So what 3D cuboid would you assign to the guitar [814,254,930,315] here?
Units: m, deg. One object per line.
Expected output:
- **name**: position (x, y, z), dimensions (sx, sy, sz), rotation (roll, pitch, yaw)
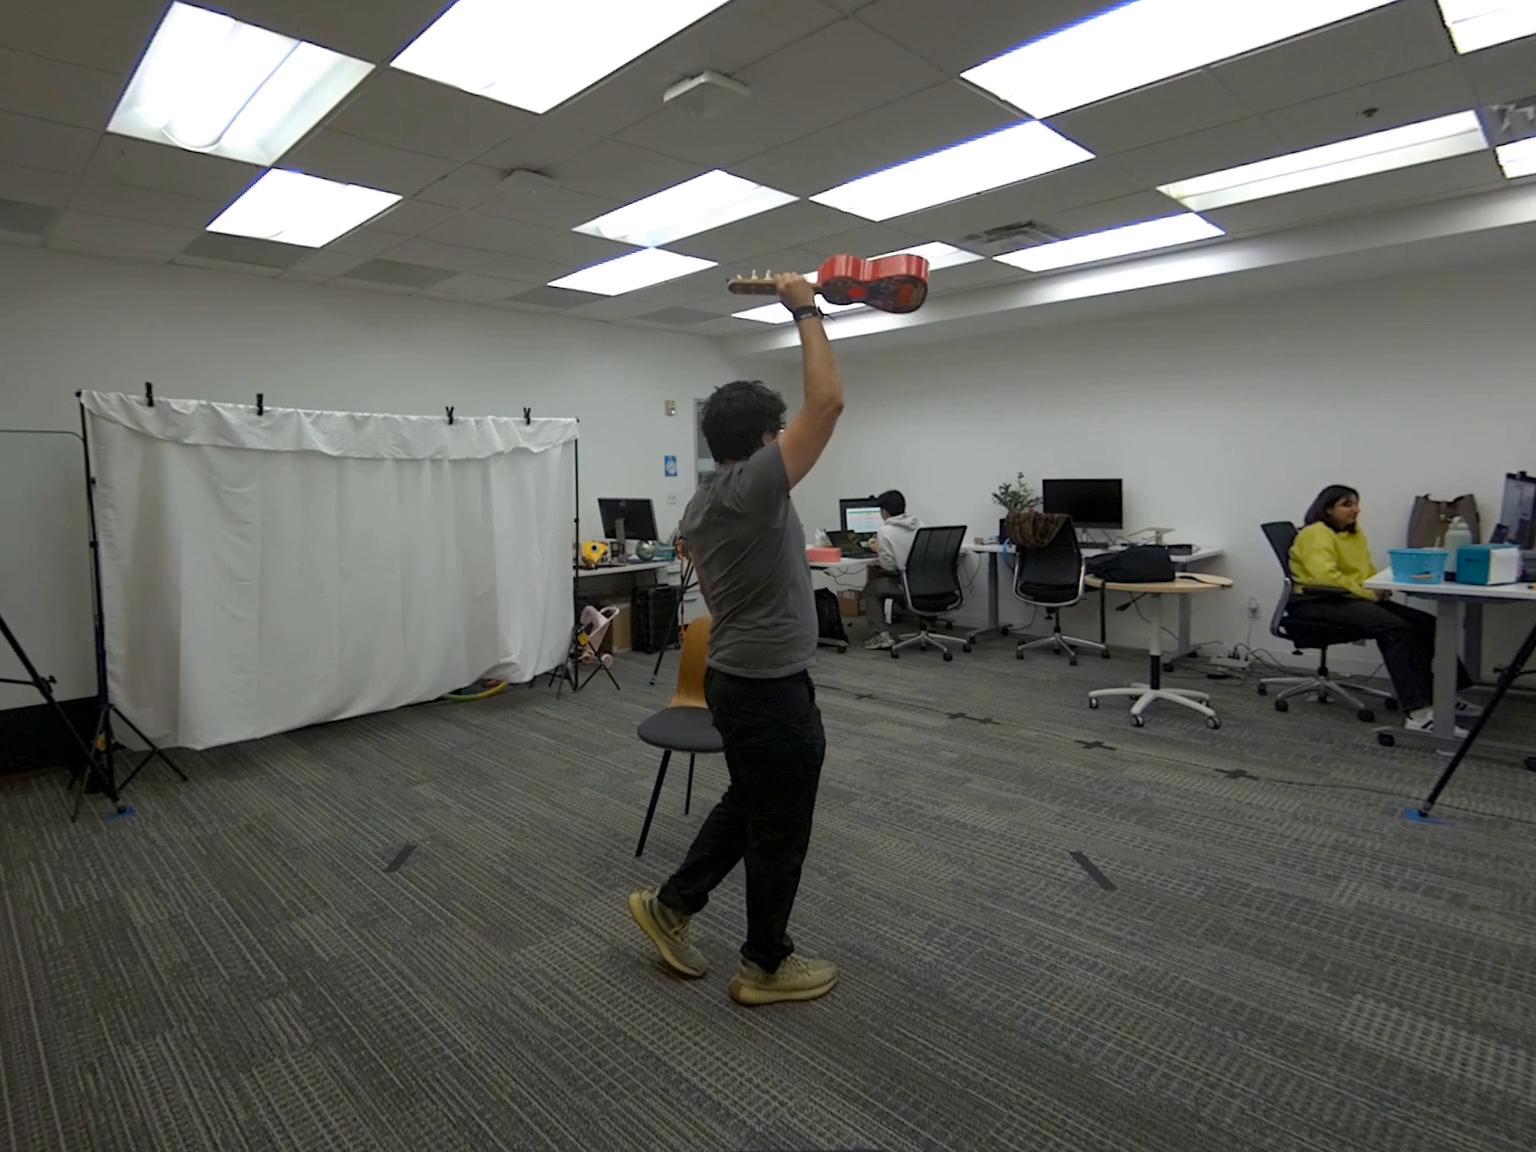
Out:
- **guitar**: position (0.161, -0.747, 2.134), dimensions (0.495, 0.071, 0.192), rotation (7, -11, -5)
